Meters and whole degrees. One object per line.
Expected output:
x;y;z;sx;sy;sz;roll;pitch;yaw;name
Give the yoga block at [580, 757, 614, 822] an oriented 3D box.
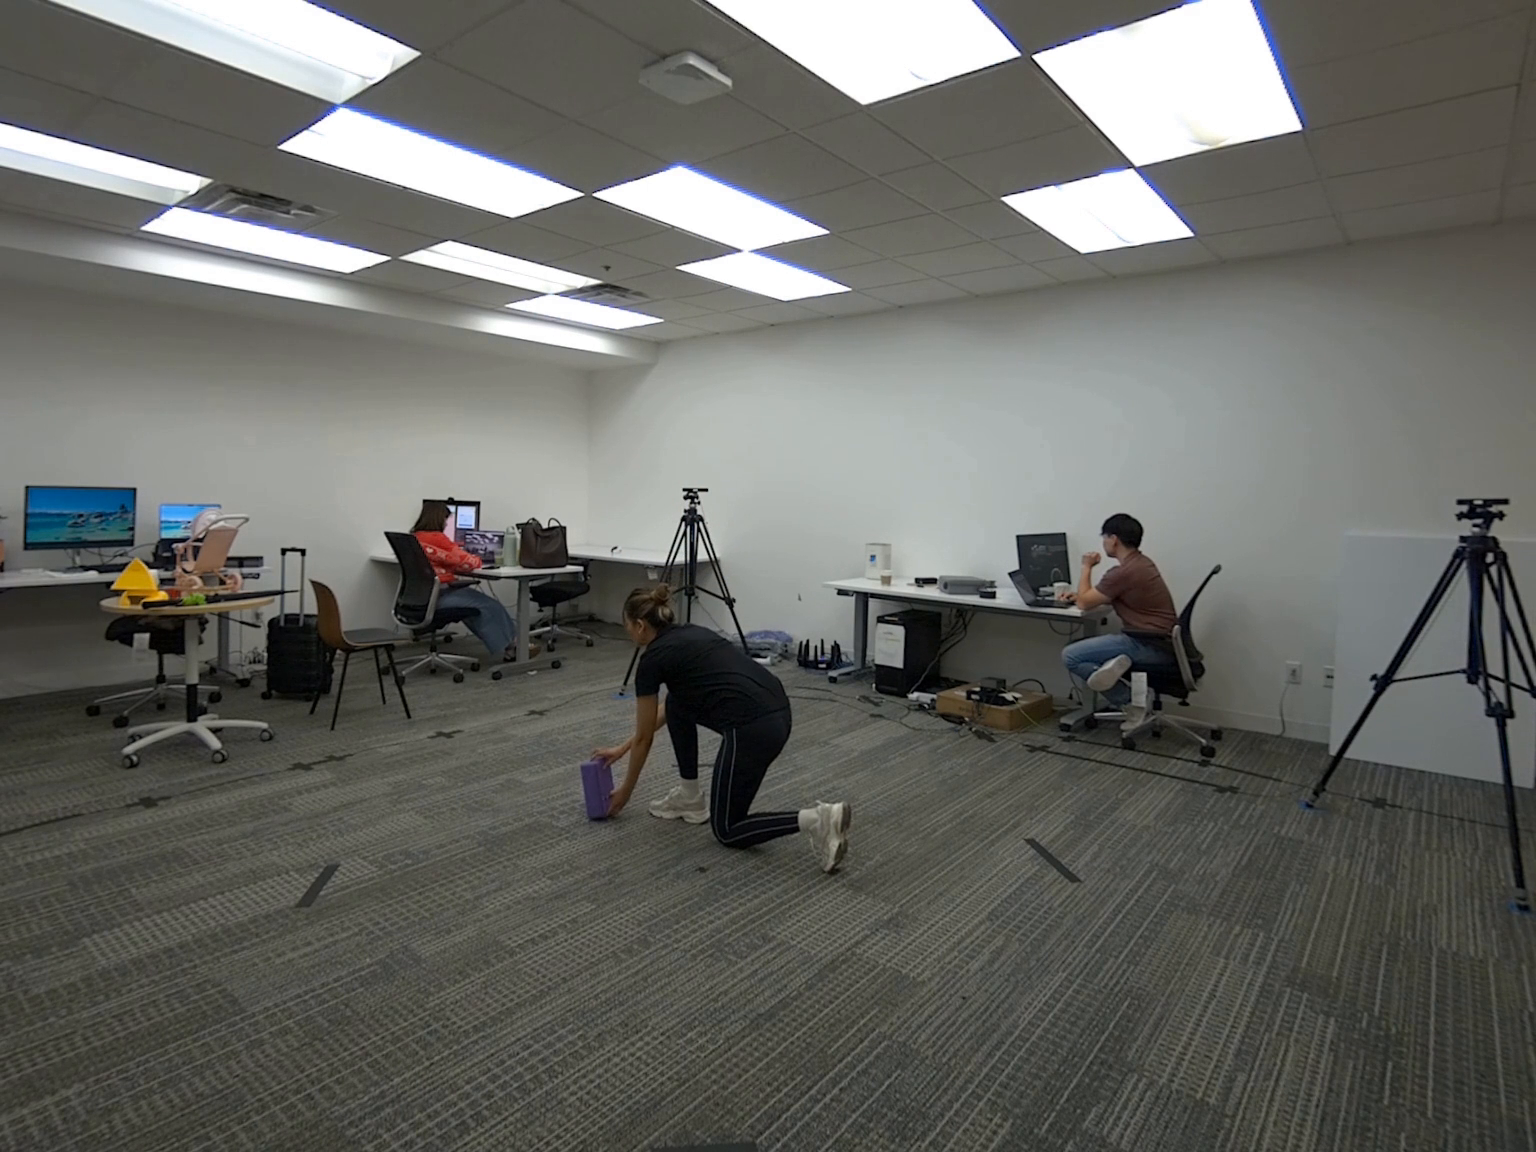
-0.737;0.894;3.627;0.077;0.230;0.146;-10;-3;14;yoga block
